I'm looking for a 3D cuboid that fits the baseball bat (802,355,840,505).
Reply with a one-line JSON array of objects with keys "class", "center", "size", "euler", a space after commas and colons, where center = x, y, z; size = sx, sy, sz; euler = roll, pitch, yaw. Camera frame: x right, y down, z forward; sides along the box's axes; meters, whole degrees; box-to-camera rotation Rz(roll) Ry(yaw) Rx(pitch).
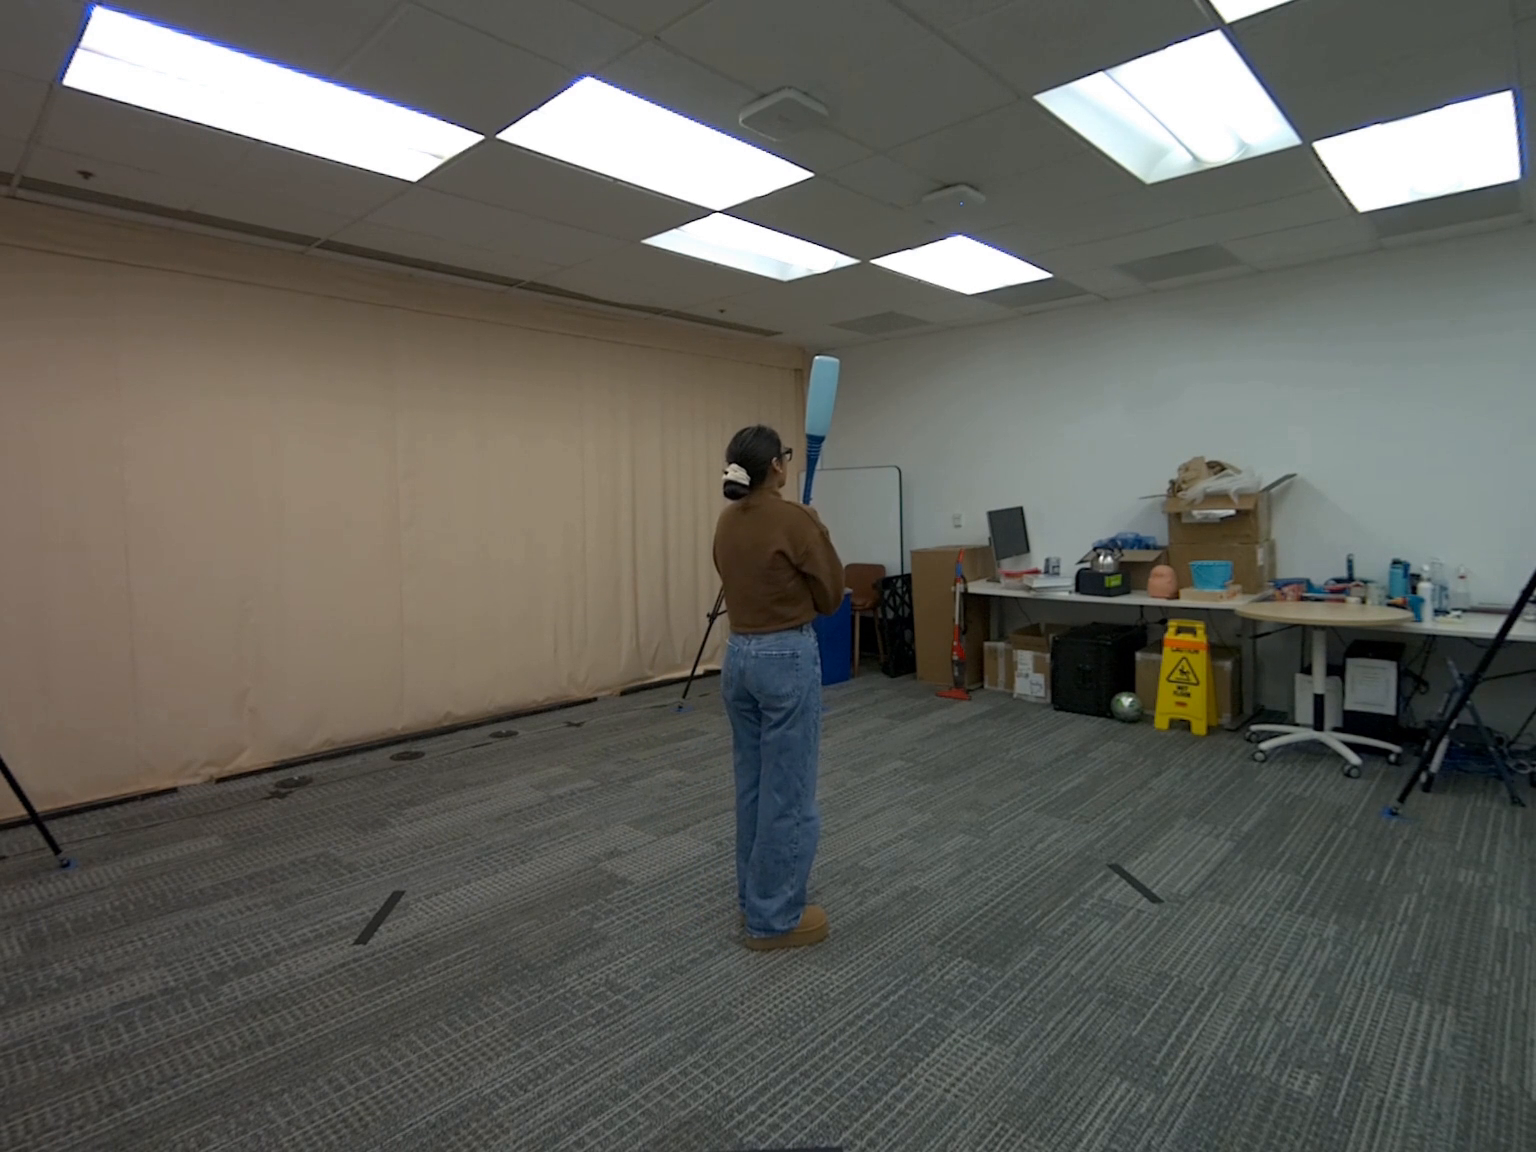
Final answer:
[{"class": "baseball bat", "center": [0.158, -0.448, 2.766], "size": [0.089, 0.540, 0.090], "euler": [7, 12, -3]}]
